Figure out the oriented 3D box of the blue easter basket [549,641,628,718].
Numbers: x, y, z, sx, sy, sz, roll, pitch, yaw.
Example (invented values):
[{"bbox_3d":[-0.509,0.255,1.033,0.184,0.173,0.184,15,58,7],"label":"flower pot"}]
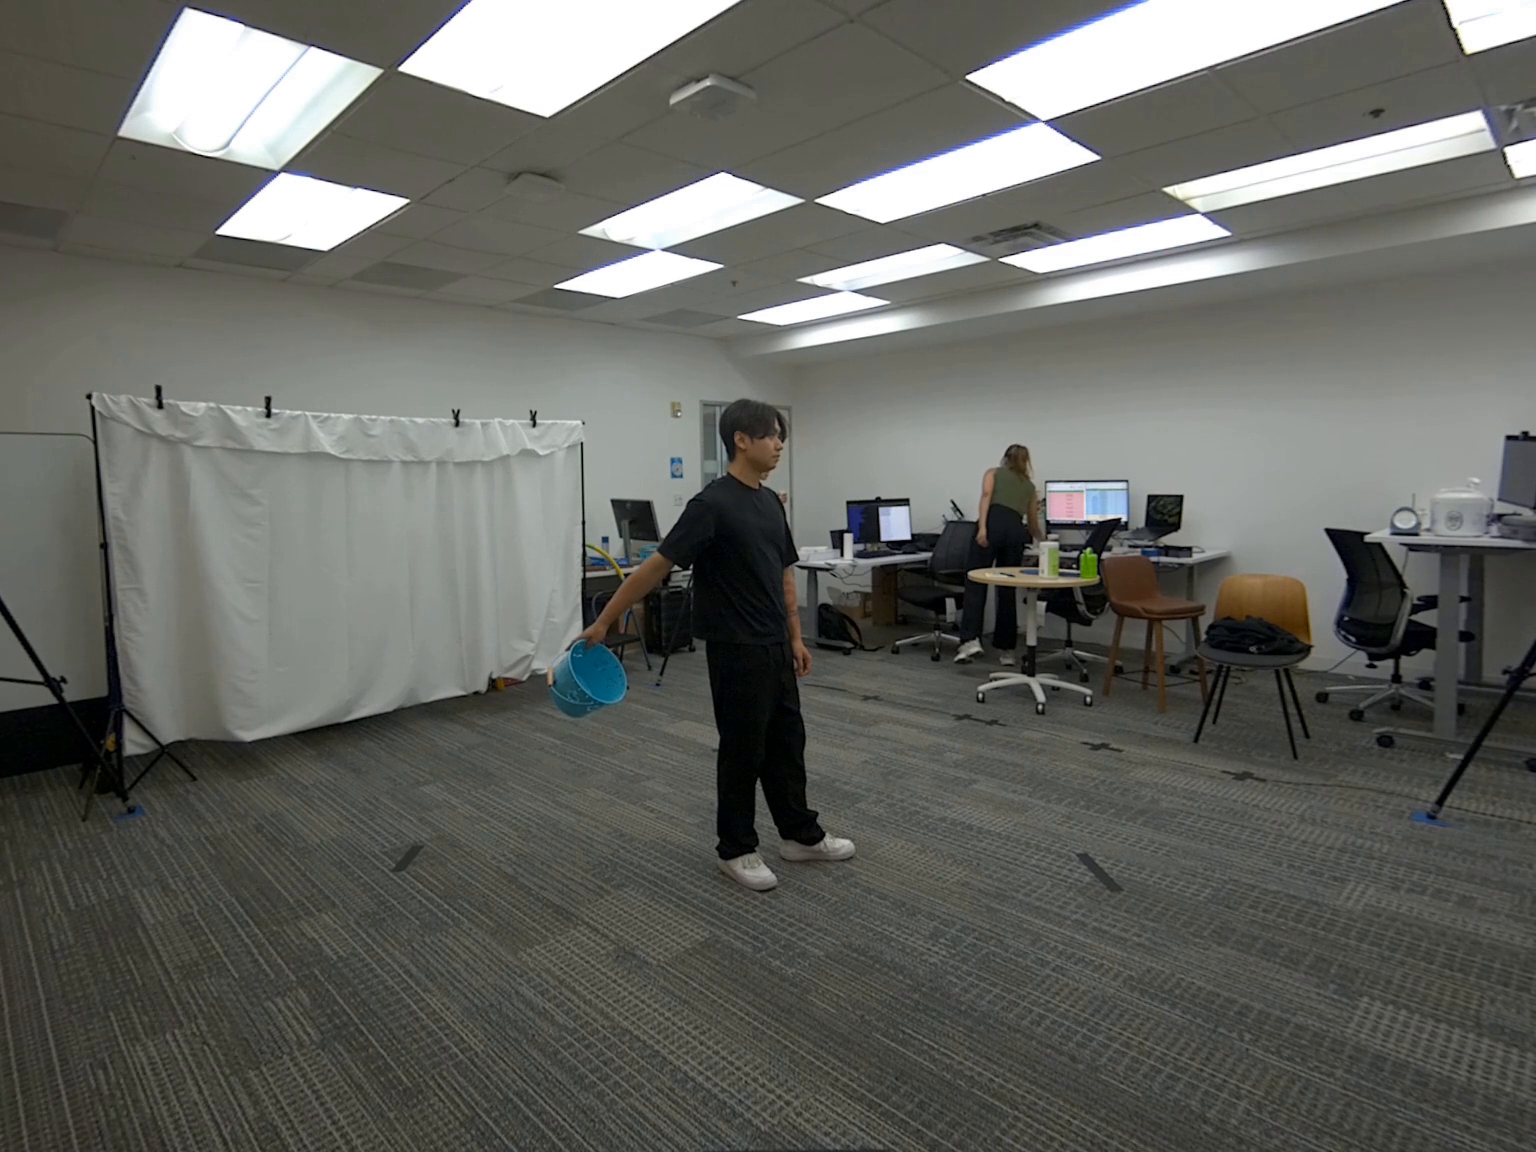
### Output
[{"bbox_3d":[-0.596,0.344,2.789,0.157,0.247,0.239,-35,-11,25],"label":"blue easter basket"}]
